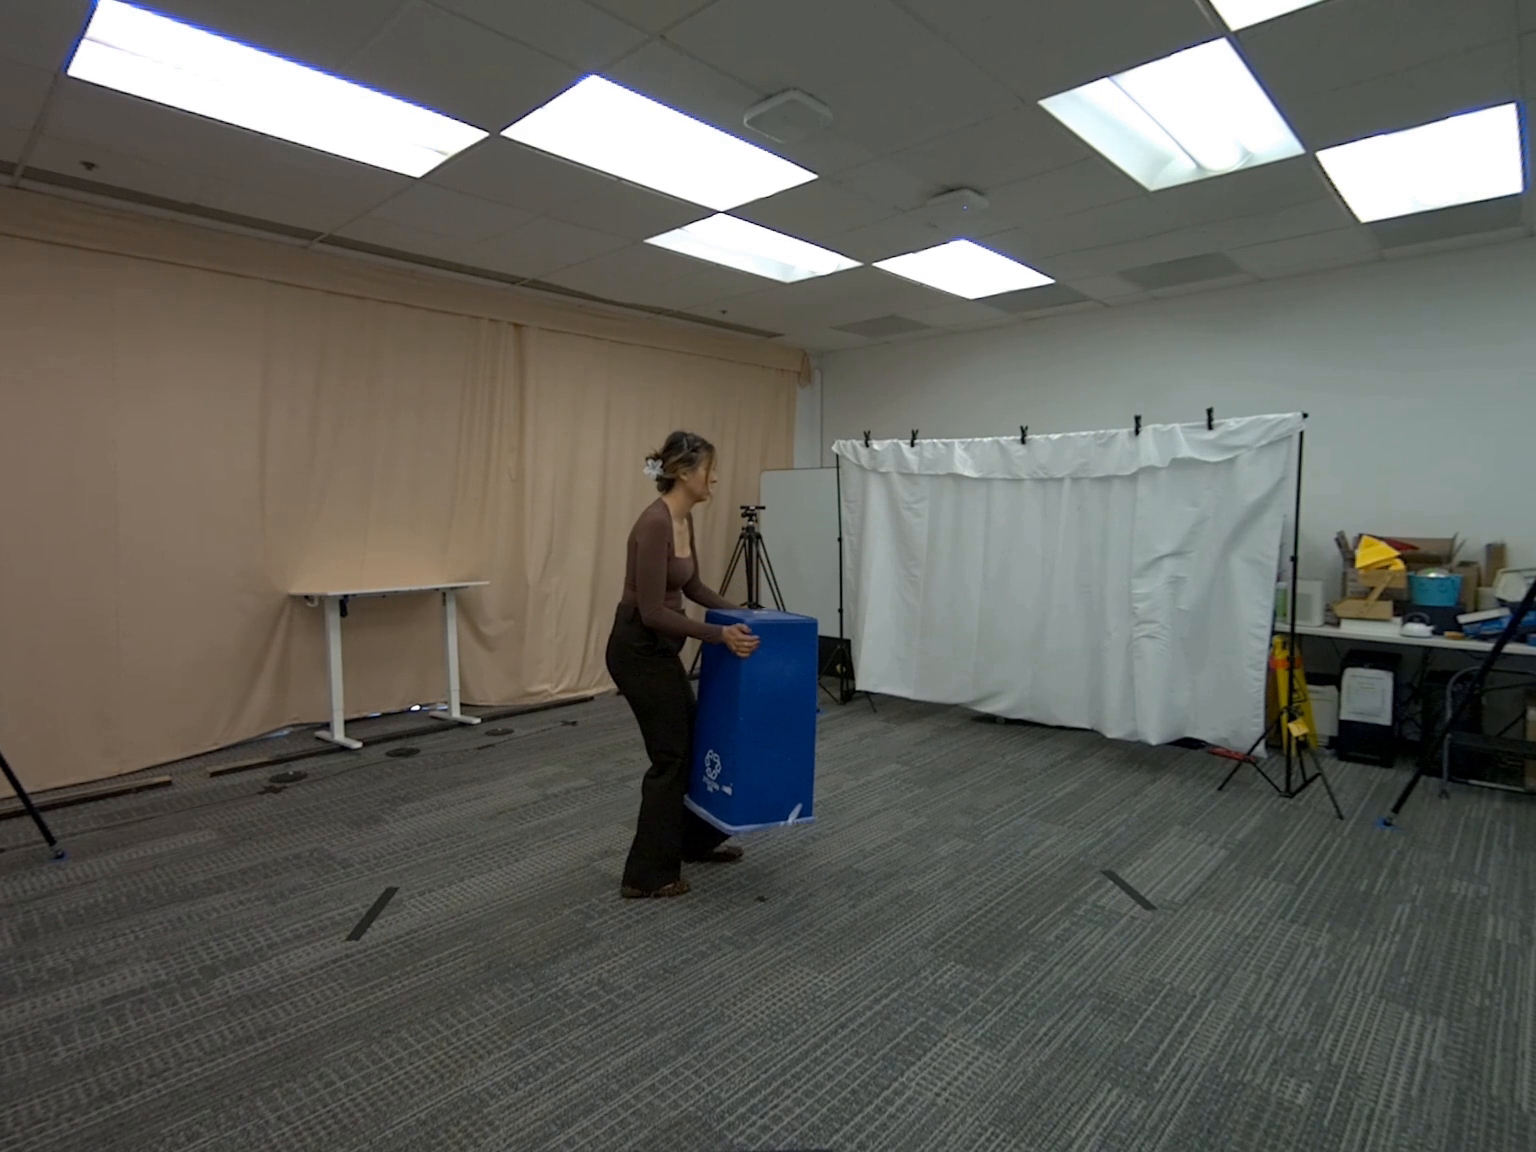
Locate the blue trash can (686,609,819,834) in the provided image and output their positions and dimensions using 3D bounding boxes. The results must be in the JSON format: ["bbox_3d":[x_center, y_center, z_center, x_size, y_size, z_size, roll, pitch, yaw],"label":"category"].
[{"bbox_3d":[-0.040,0.497,3.012,0.368,0.713,0.384,3,1,-28],"label":"blue trash can"}]
